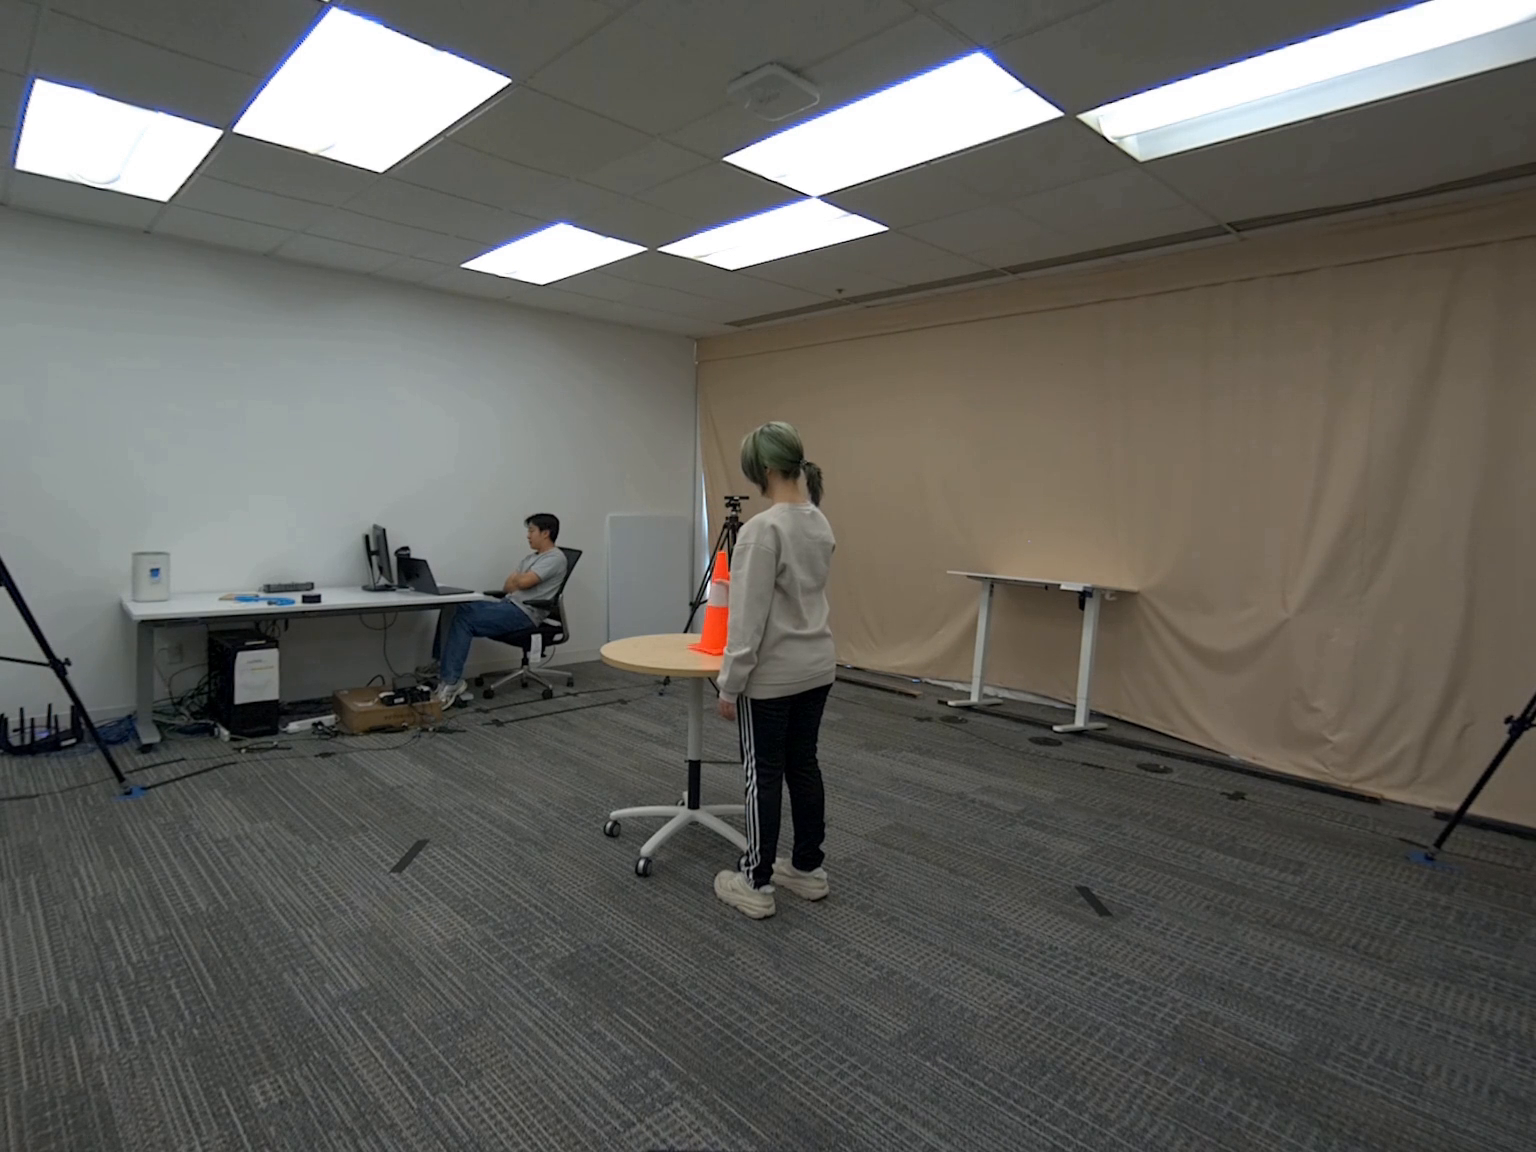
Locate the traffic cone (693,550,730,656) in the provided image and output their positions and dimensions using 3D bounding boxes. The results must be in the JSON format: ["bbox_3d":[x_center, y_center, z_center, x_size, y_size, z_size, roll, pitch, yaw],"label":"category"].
[{"bbox_3d":[-0.192,0.095,3.365,0.208,0.383,0.200,3,1,43],"label":"traffic cone"}]
